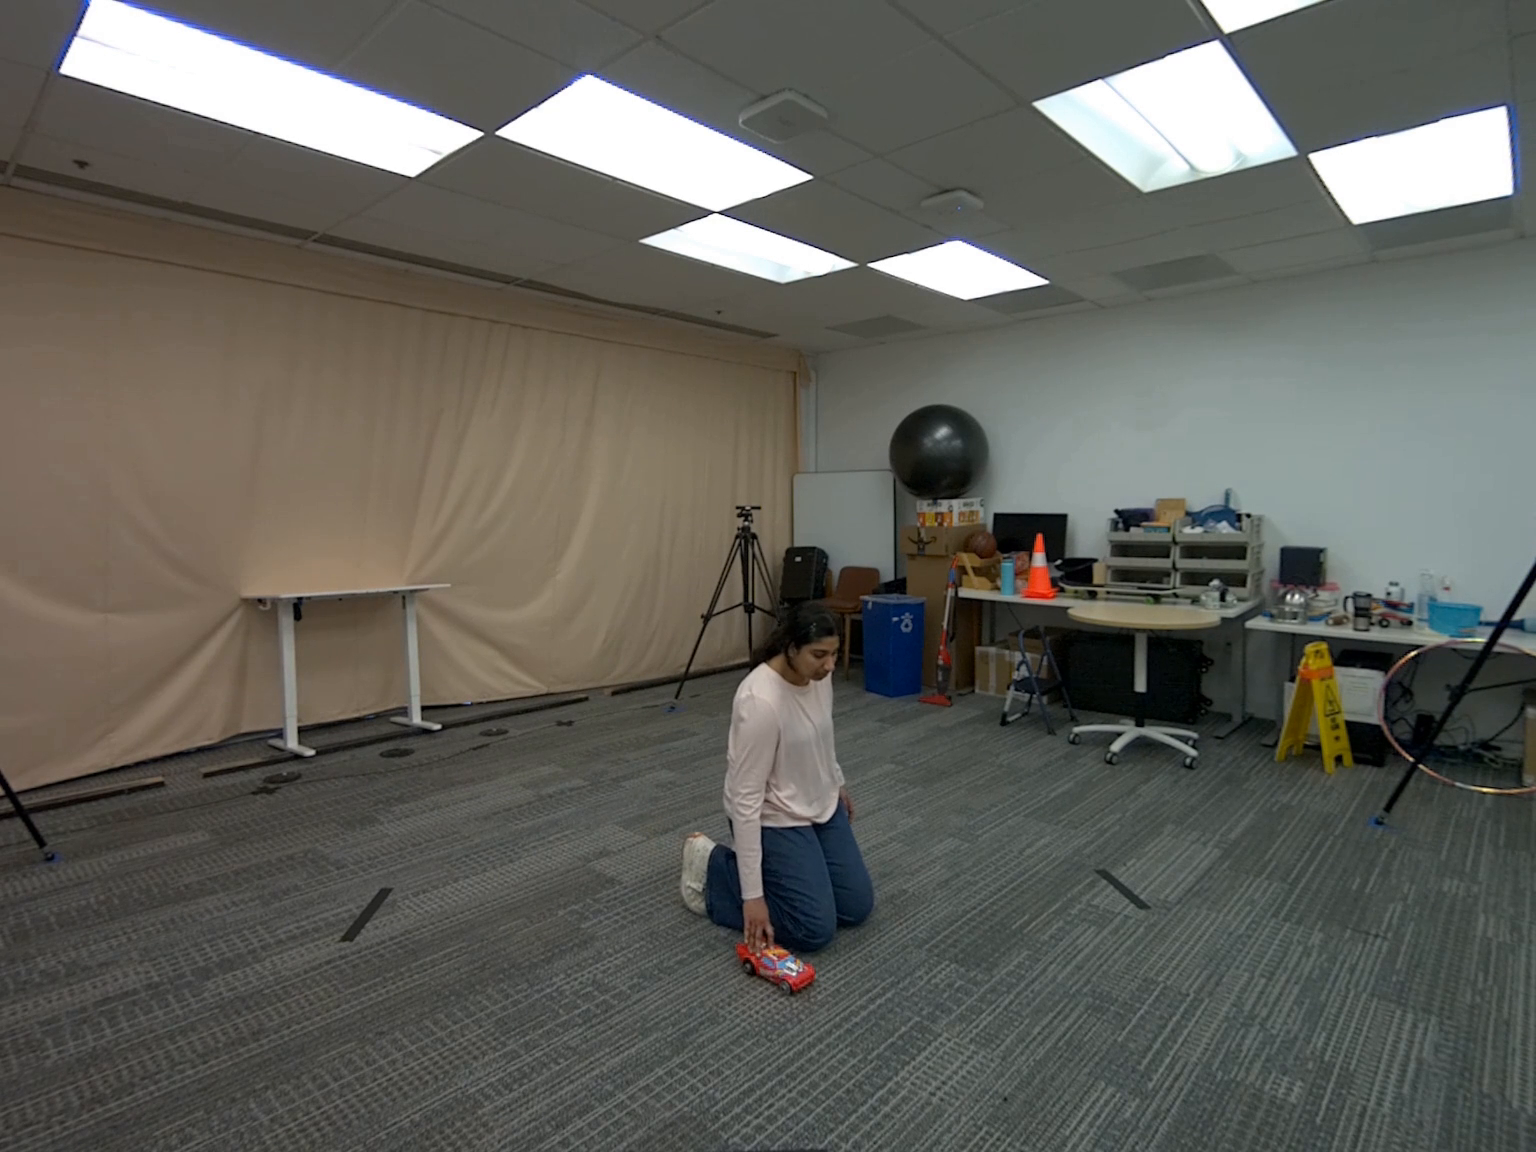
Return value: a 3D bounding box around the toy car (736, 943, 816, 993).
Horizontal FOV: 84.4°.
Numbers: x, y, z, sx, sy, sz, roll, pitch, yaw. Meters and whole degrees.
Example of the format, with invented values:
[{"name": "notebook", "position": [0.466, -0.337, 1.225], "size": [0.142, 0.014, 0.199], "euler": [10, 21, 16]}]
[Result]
[{"name": "toy car", "position": [0.013, 1.147, 2.504], "size": [0.126, 0.083, 0.264], "euler": [-6, 18, -44]}]
